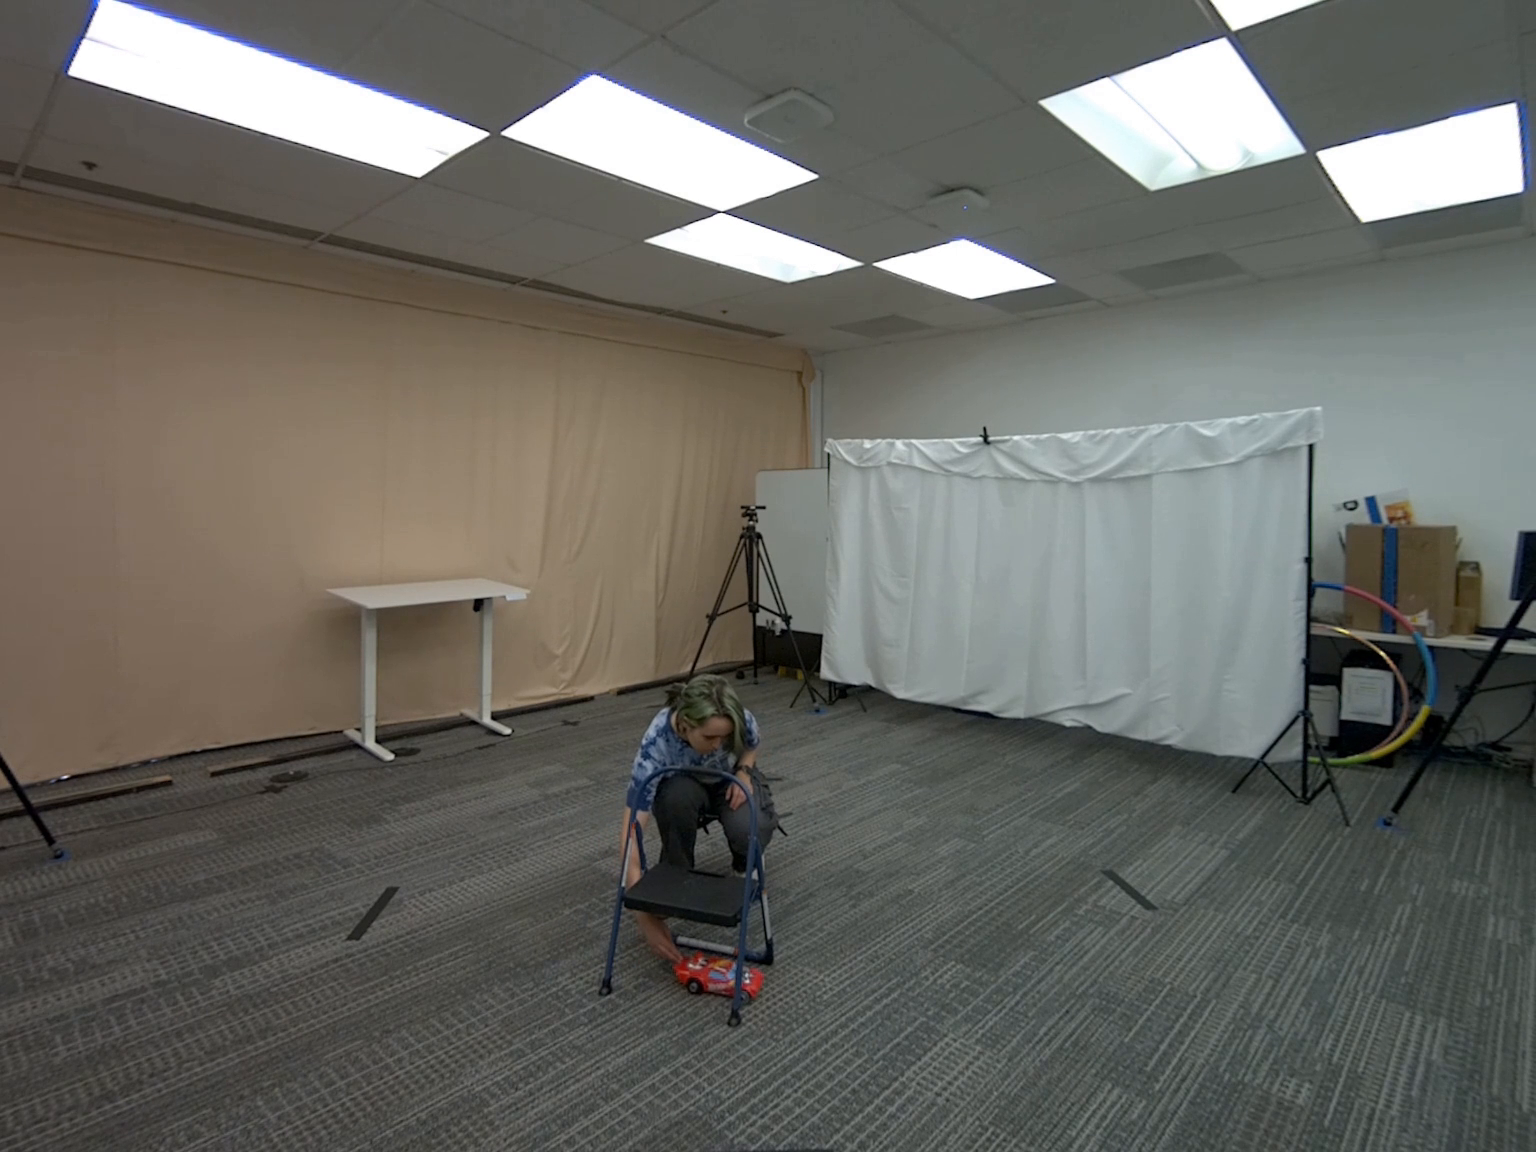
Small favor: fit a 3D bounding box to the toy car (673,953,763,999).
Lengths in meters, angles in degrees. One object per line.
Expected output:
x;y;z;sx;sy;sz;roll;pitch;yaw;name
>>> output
-0.147;1.157;2.435;0.260;0.083;0.128;12;9;18;toy car
